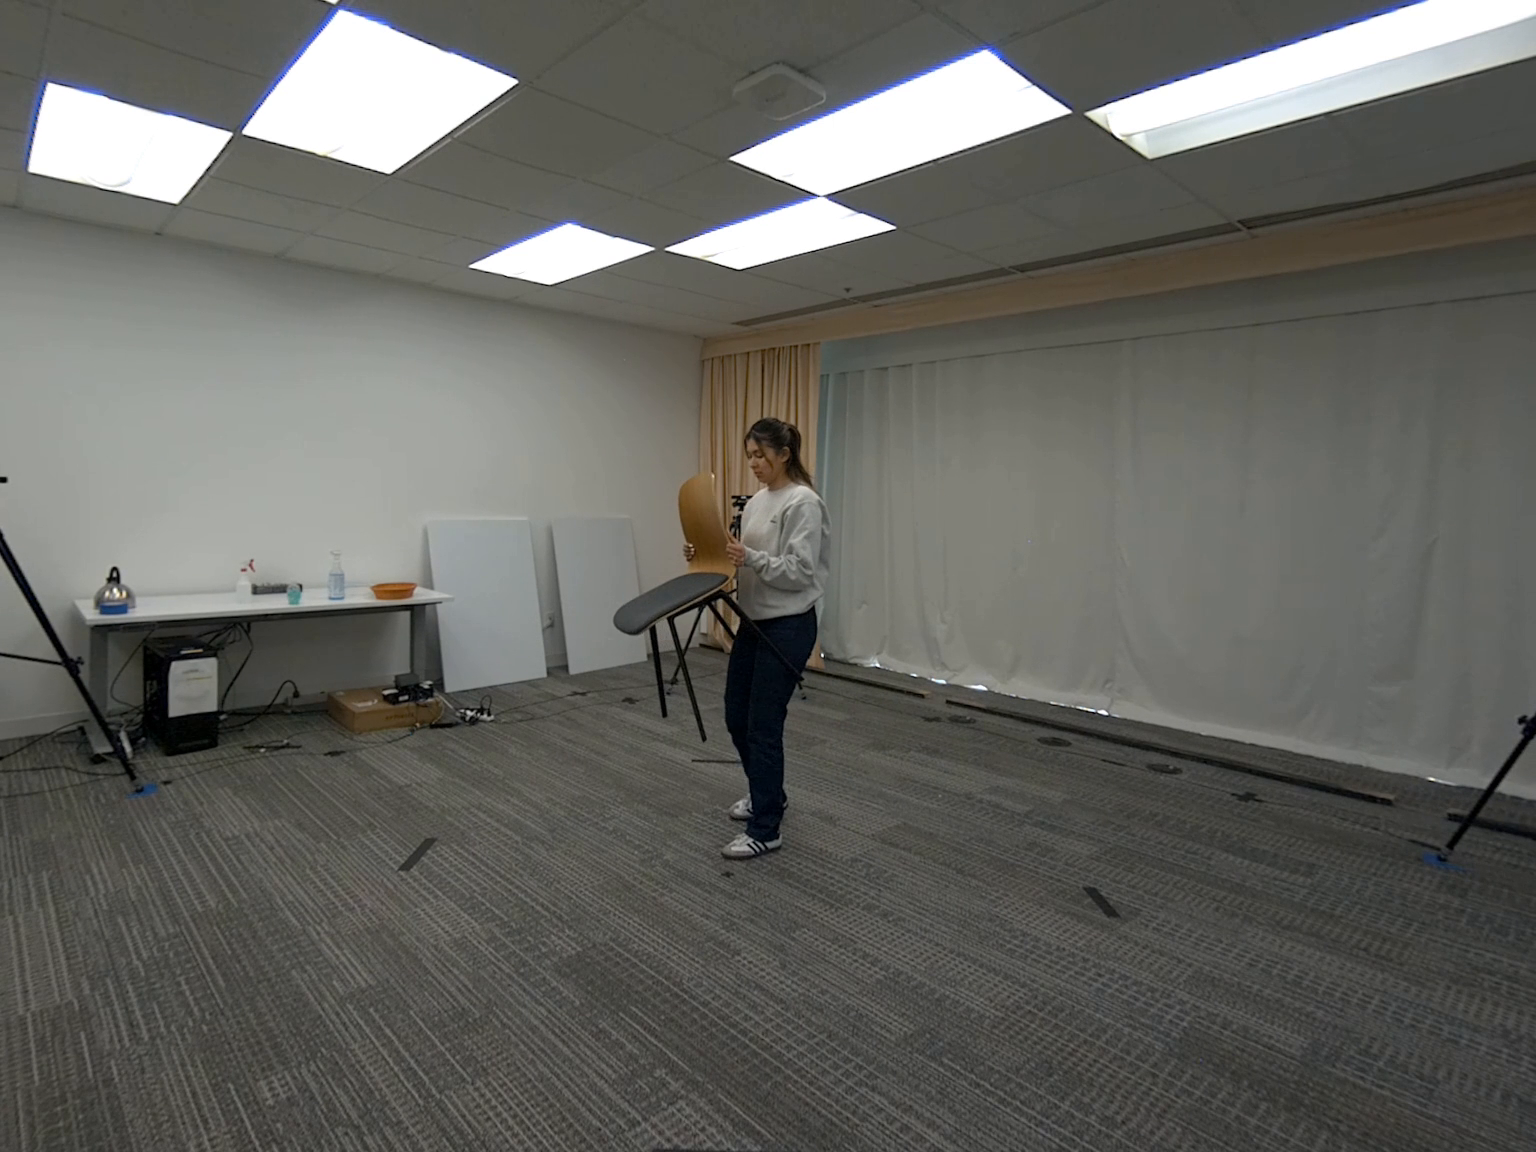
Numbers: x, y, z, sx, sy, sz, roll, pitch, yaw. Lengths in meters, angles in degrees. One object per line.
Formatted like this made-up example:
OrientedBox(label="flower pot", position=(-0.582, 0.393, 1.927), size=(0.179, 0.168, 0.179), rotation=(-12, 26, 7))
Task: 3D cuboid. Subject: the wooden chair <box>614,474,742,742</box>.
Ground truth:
OrientedBox(label="wooden chair", position=(-0.323, 0.108, 3.193), size=(0.518, 0.869, 0.487), rotation=(-22, 10, -22))
